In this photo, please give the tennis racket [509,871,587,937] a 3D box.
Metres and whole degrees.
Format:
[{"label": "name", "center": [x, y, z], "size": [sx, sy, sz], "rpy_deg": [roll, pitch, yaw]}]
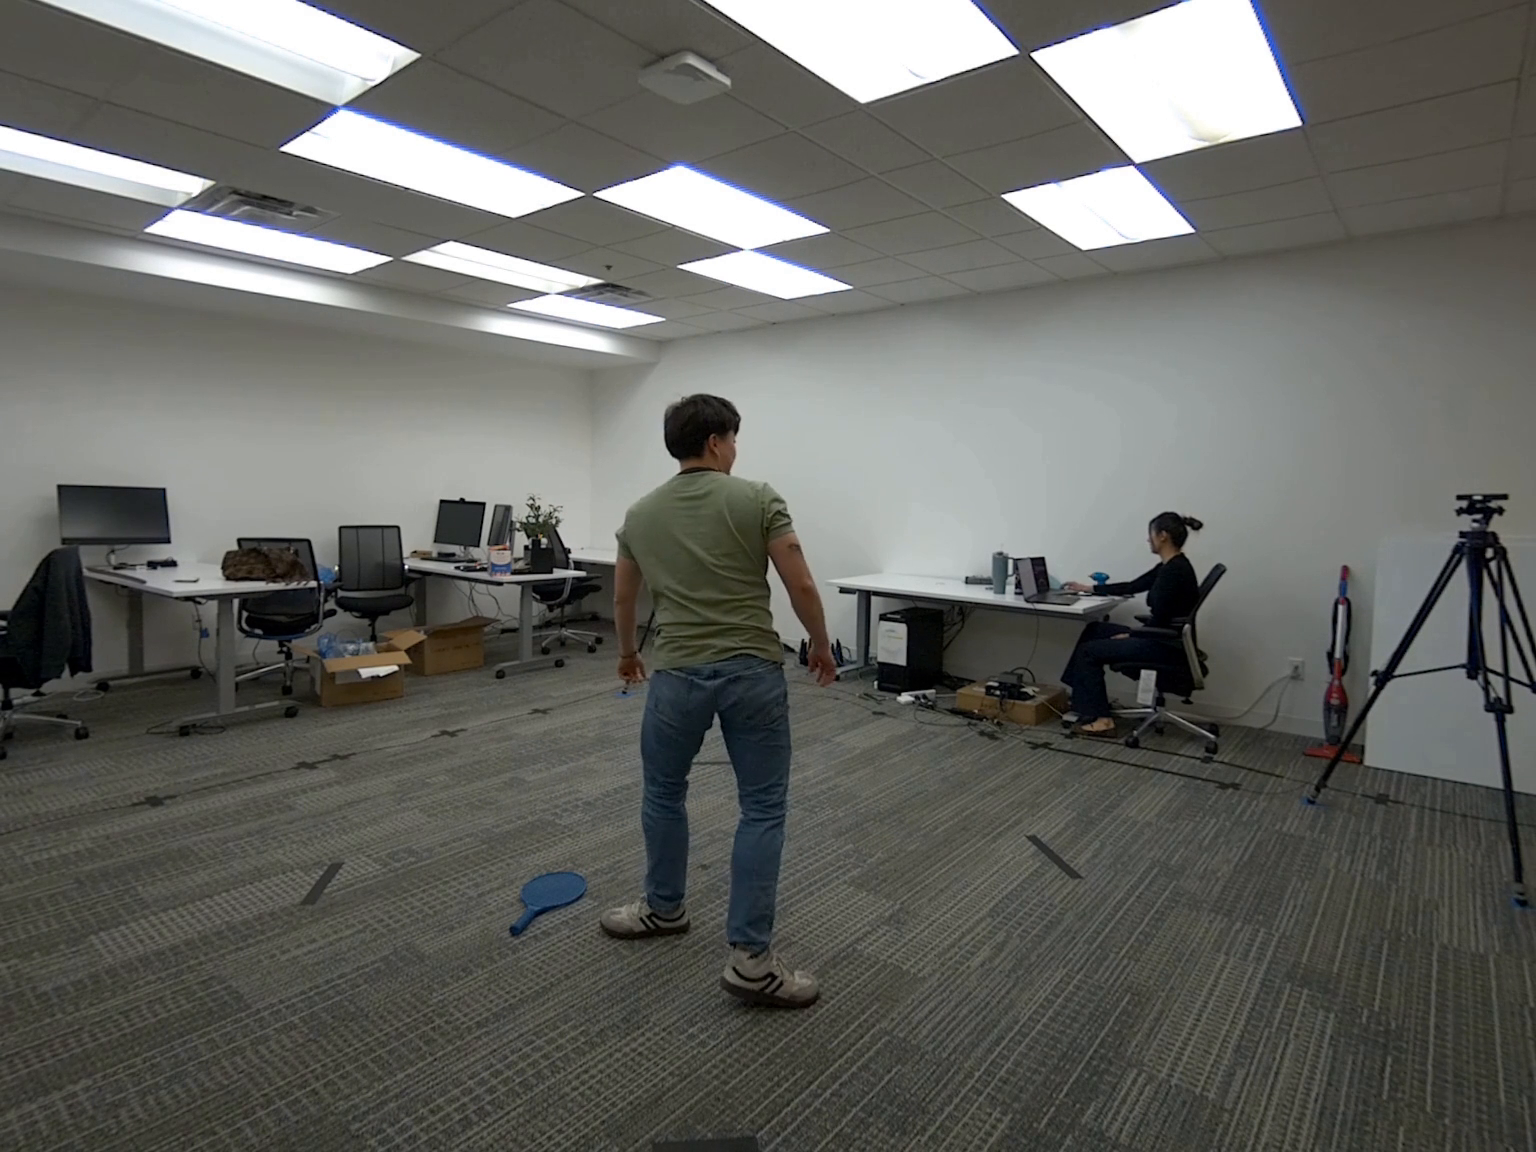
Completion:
[{"label": "tennis racket", "center": [-0.756, 1.073, 2.829], "size": [0.216, 0.031, 0.428], "rpy_deg": [1, 5, 11]}]
